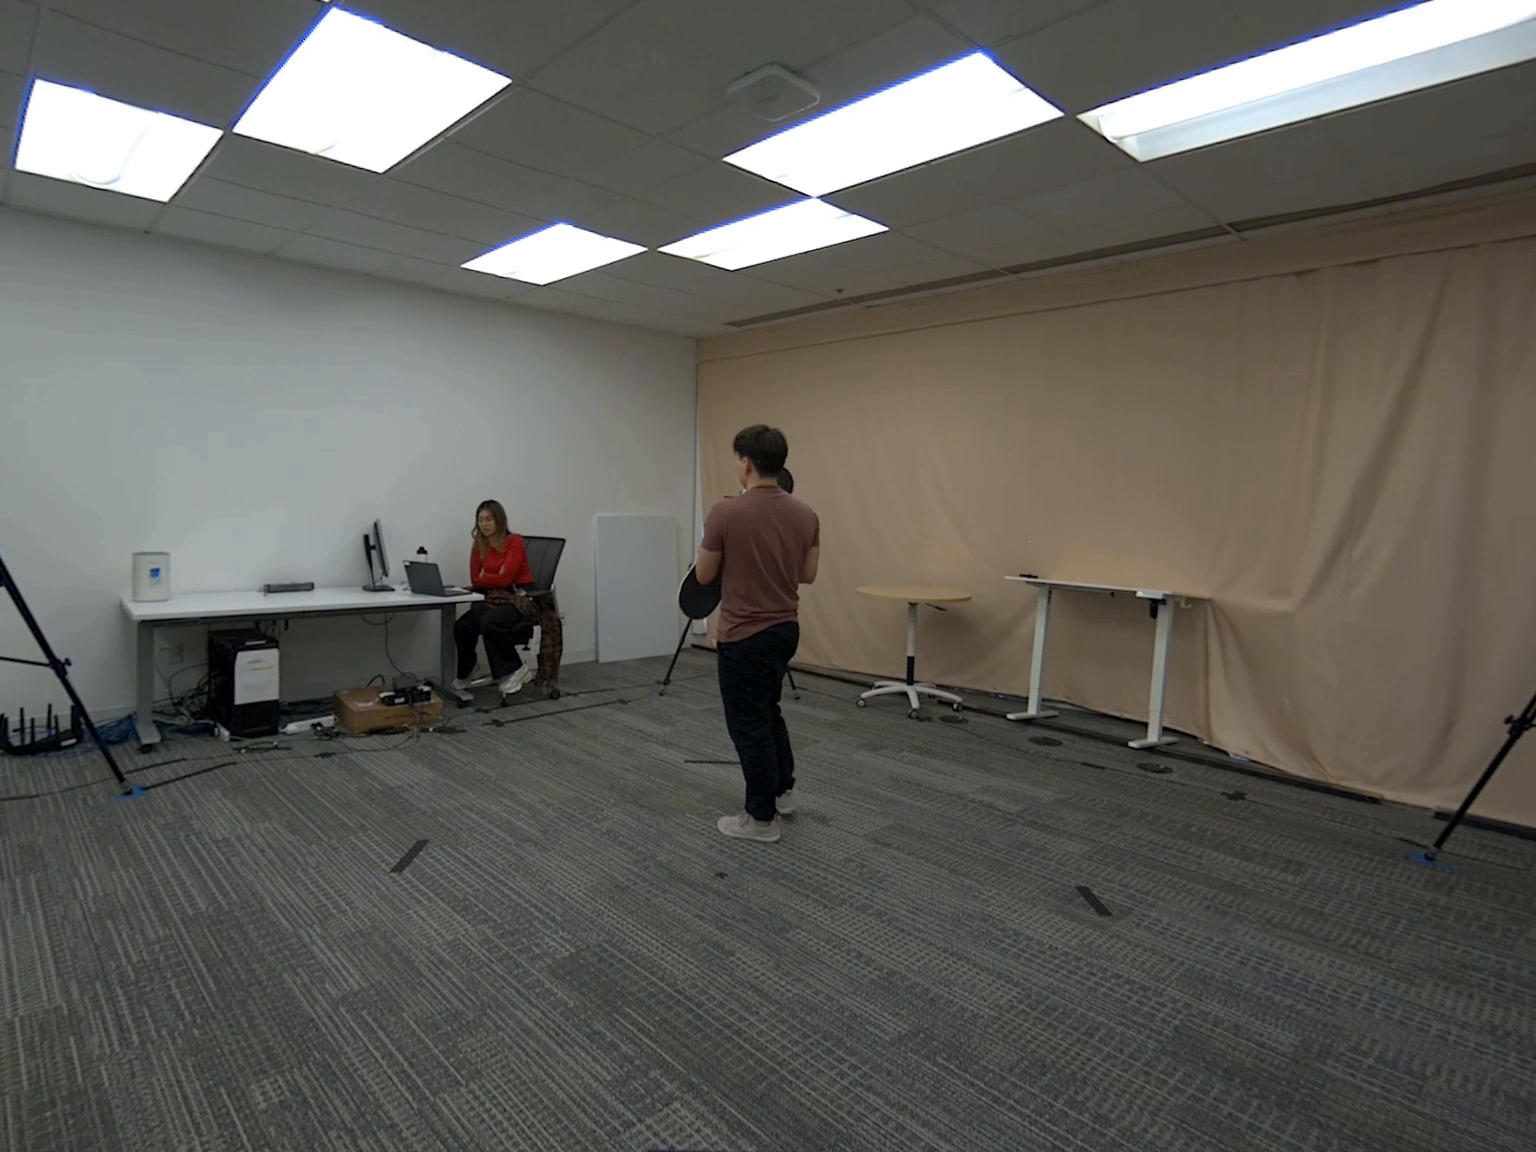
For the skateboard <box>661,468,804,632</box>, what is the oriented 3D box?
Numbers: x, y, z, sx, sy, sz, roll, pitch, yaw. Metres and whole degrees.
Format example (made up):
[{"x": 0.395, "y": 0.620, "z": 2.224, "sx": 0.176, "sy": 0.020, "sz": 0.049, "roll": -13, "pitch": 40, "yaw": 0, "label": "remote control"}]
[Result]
[{"x": -0.152, "y": -0.147, "z": 3.694, "sx": 0.189, "sy": 0.787, "sz": 0.112, "roll": 38, "pitch": -13, "yaw": -20, "label": "skateboard"}]
